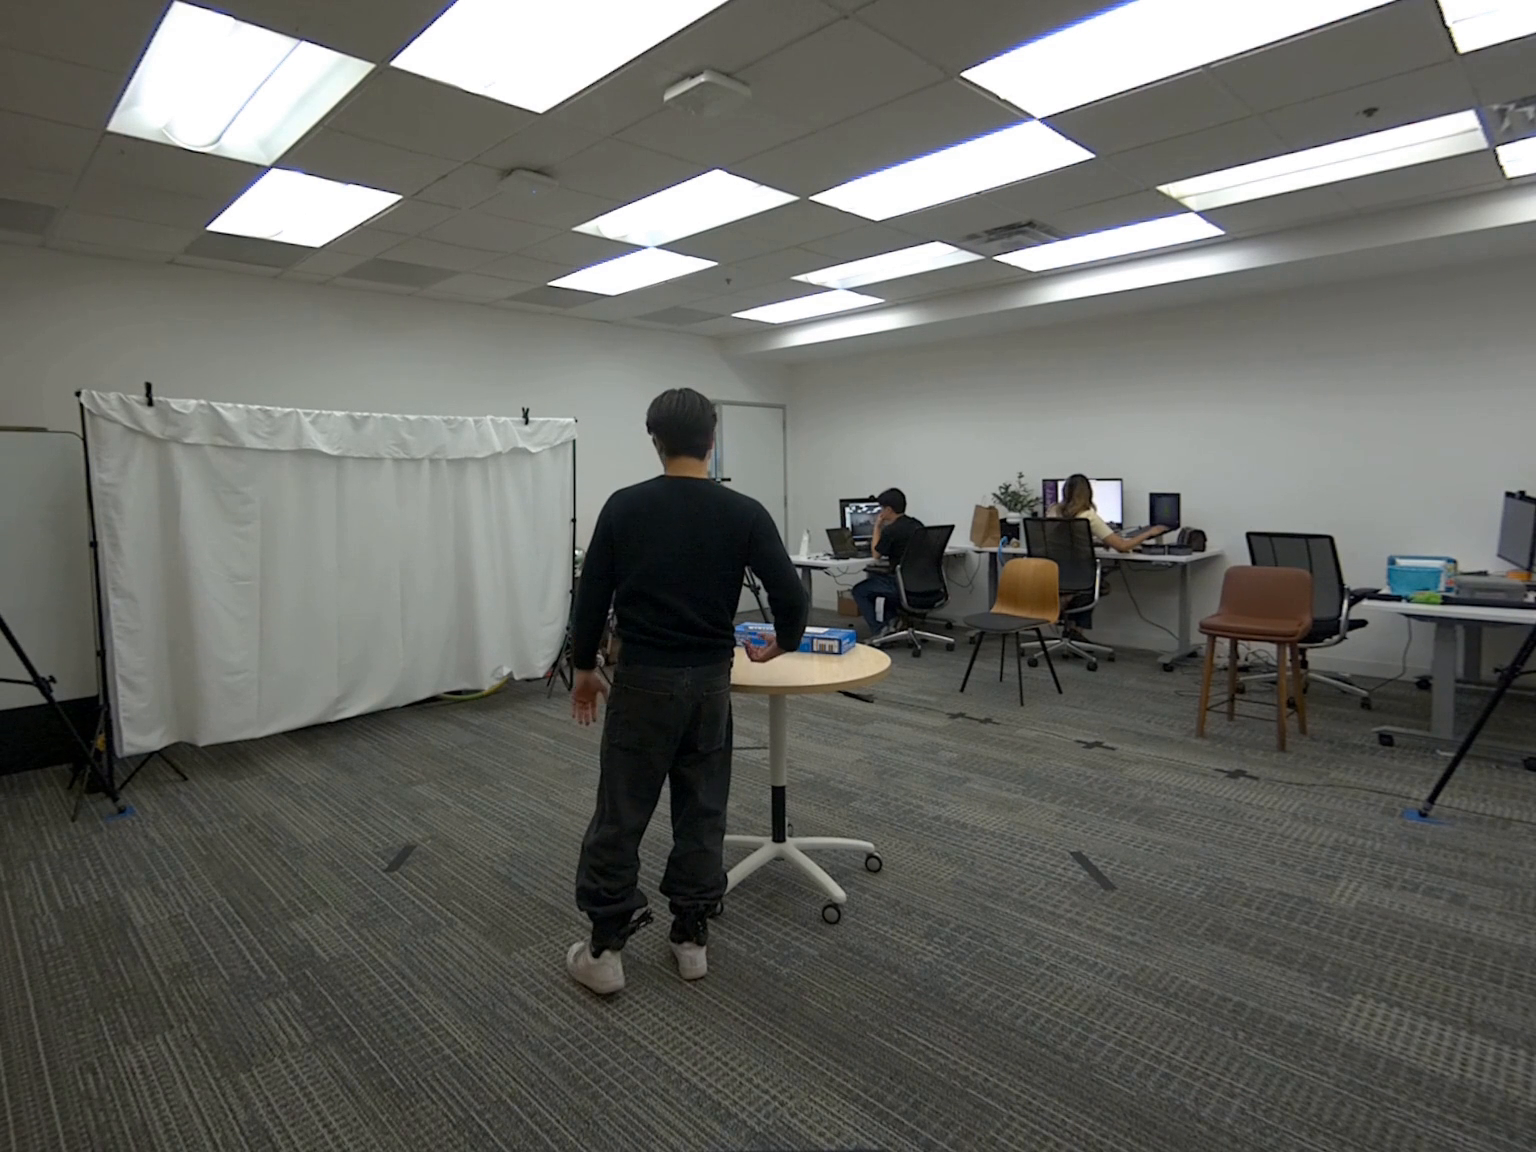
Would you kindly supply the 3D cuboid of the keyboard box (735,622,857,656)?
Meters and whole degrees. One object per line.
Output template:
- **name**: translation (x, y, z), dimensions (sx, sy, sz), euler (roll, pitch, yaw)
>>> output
- **keyboard box**: translation (0.089, 0.227, 3.107), dimensions (0.447, 0.059, 0.173), euler (3, 8, 25)
